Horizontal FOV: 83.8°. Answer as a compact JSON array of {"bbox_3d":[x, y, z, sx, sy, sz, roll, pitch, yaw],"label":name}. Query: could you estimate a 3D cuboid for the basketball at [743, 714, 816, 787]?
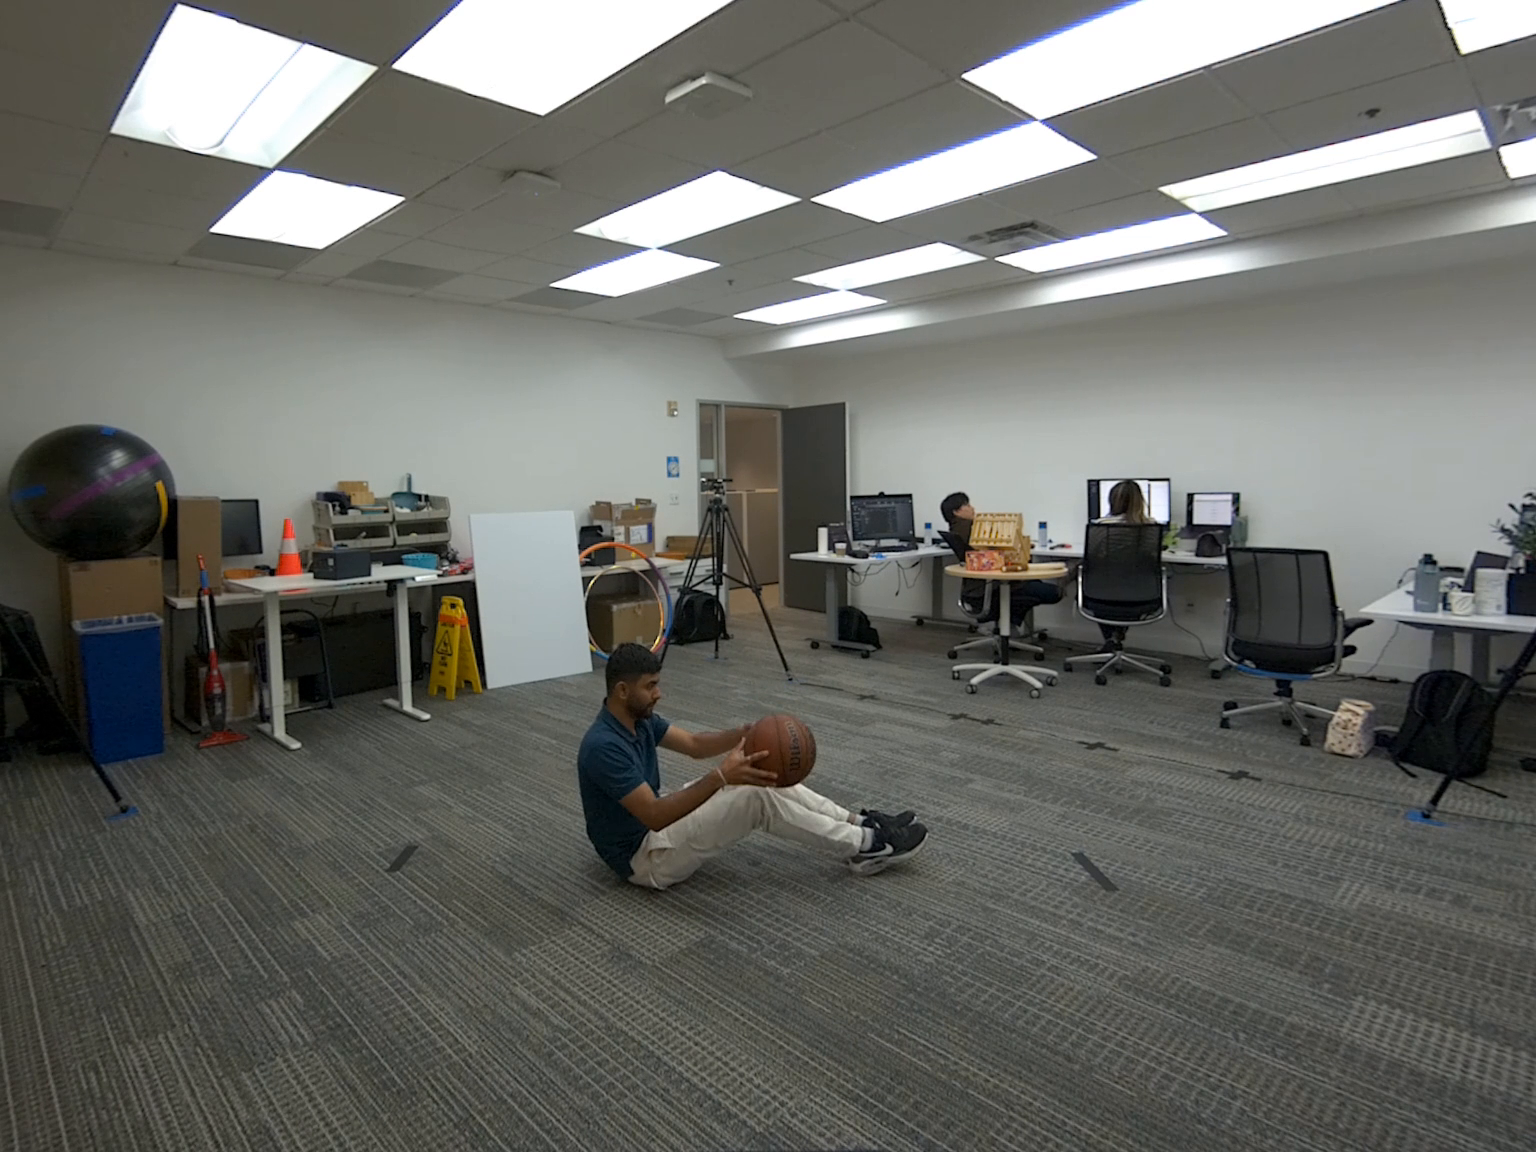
[{"bbox_3d":[0.036,0.567,2.812,0.236,0.235,0.237,-1,5,-2],"label":"basketball"}]
